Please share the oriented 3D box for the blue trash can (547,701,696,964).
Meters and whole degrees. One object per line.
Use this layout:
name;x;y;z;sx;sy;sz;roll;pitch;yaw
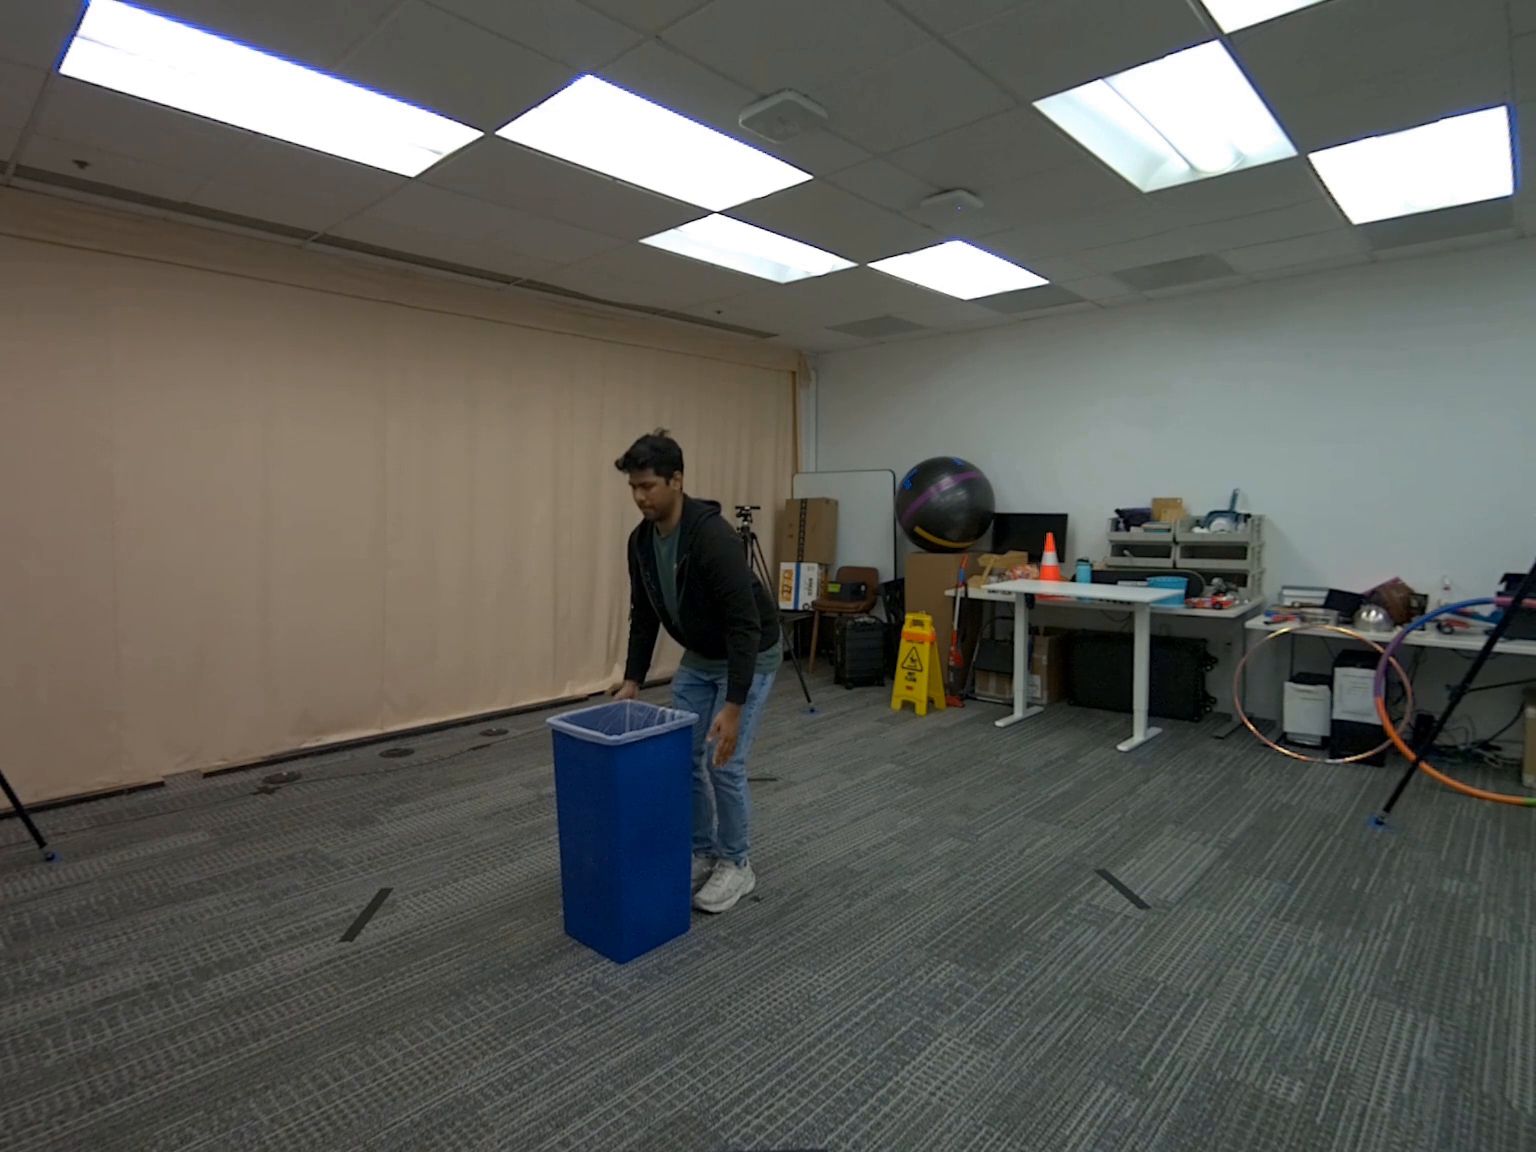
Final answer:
blue trash can;-0.469;0.808;2.739;0.390;0.712;0.362;2;4;42
